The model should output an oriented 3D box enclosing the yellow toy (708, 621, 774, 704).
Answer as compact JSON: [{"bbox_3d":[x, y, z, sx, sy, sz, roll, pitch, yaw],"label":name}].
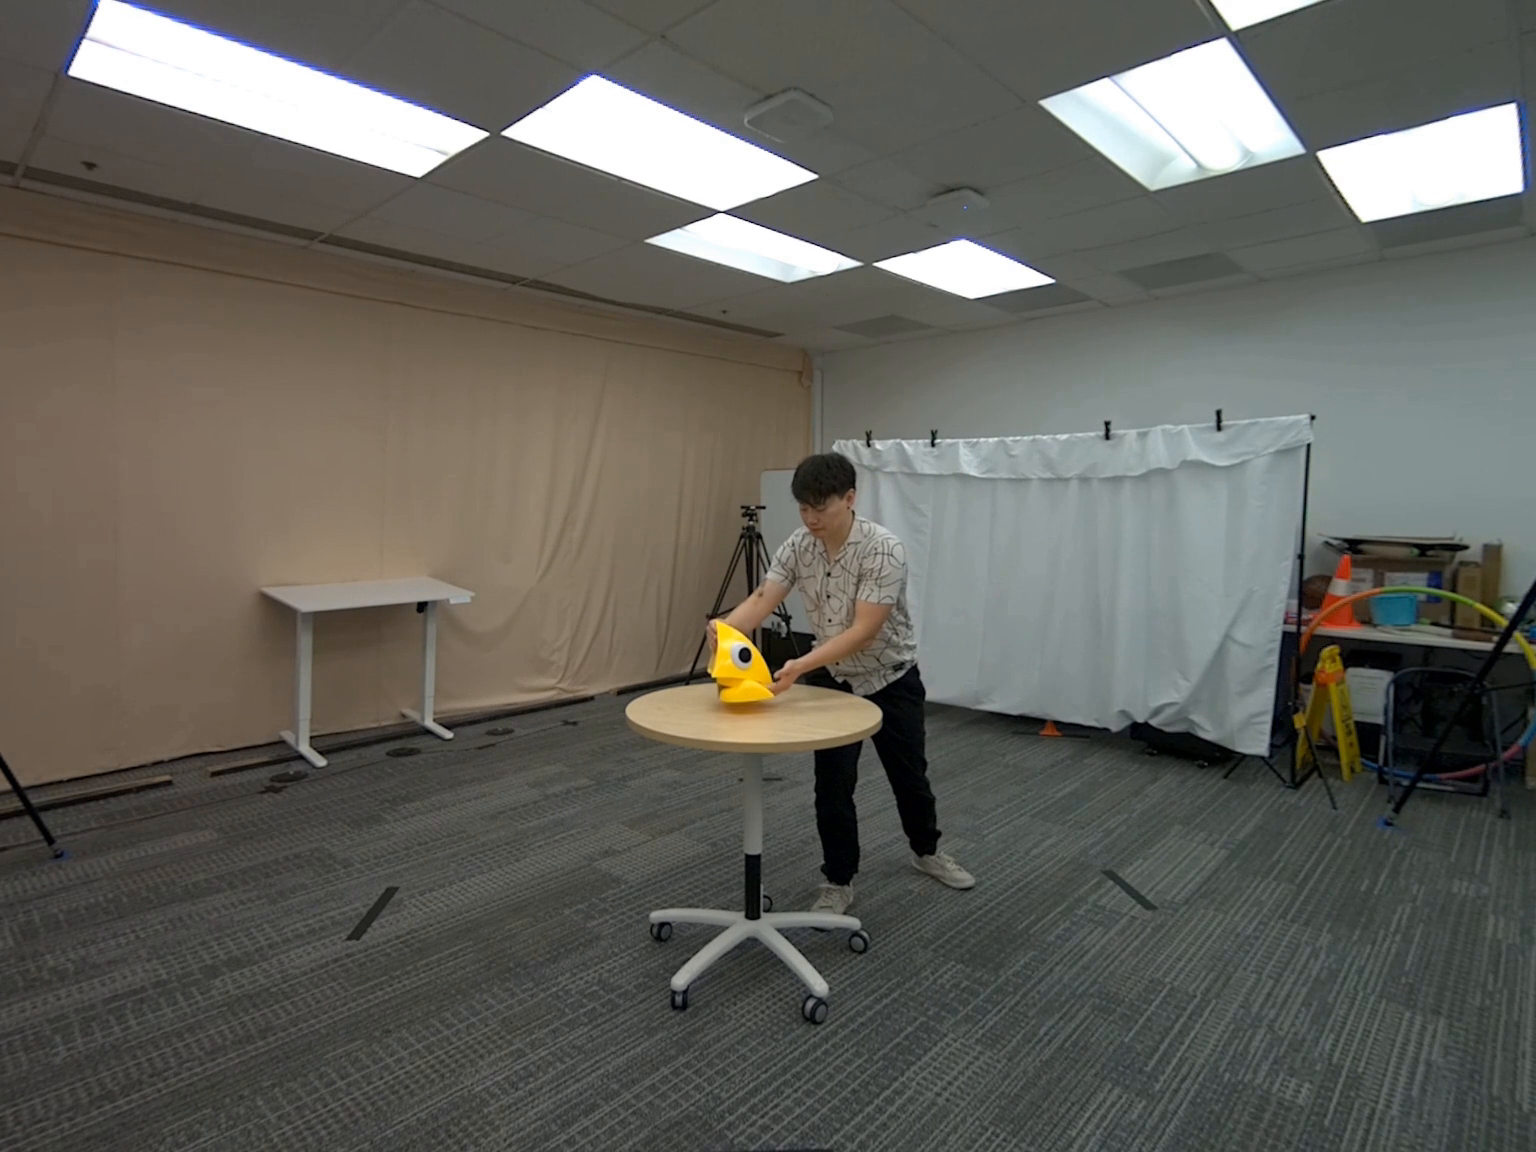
[{"bbox_3d":[-0.081,0.246,2.529,0.192,0.231,0.206,-4,1,-5],"label":"yellow toy"}]
